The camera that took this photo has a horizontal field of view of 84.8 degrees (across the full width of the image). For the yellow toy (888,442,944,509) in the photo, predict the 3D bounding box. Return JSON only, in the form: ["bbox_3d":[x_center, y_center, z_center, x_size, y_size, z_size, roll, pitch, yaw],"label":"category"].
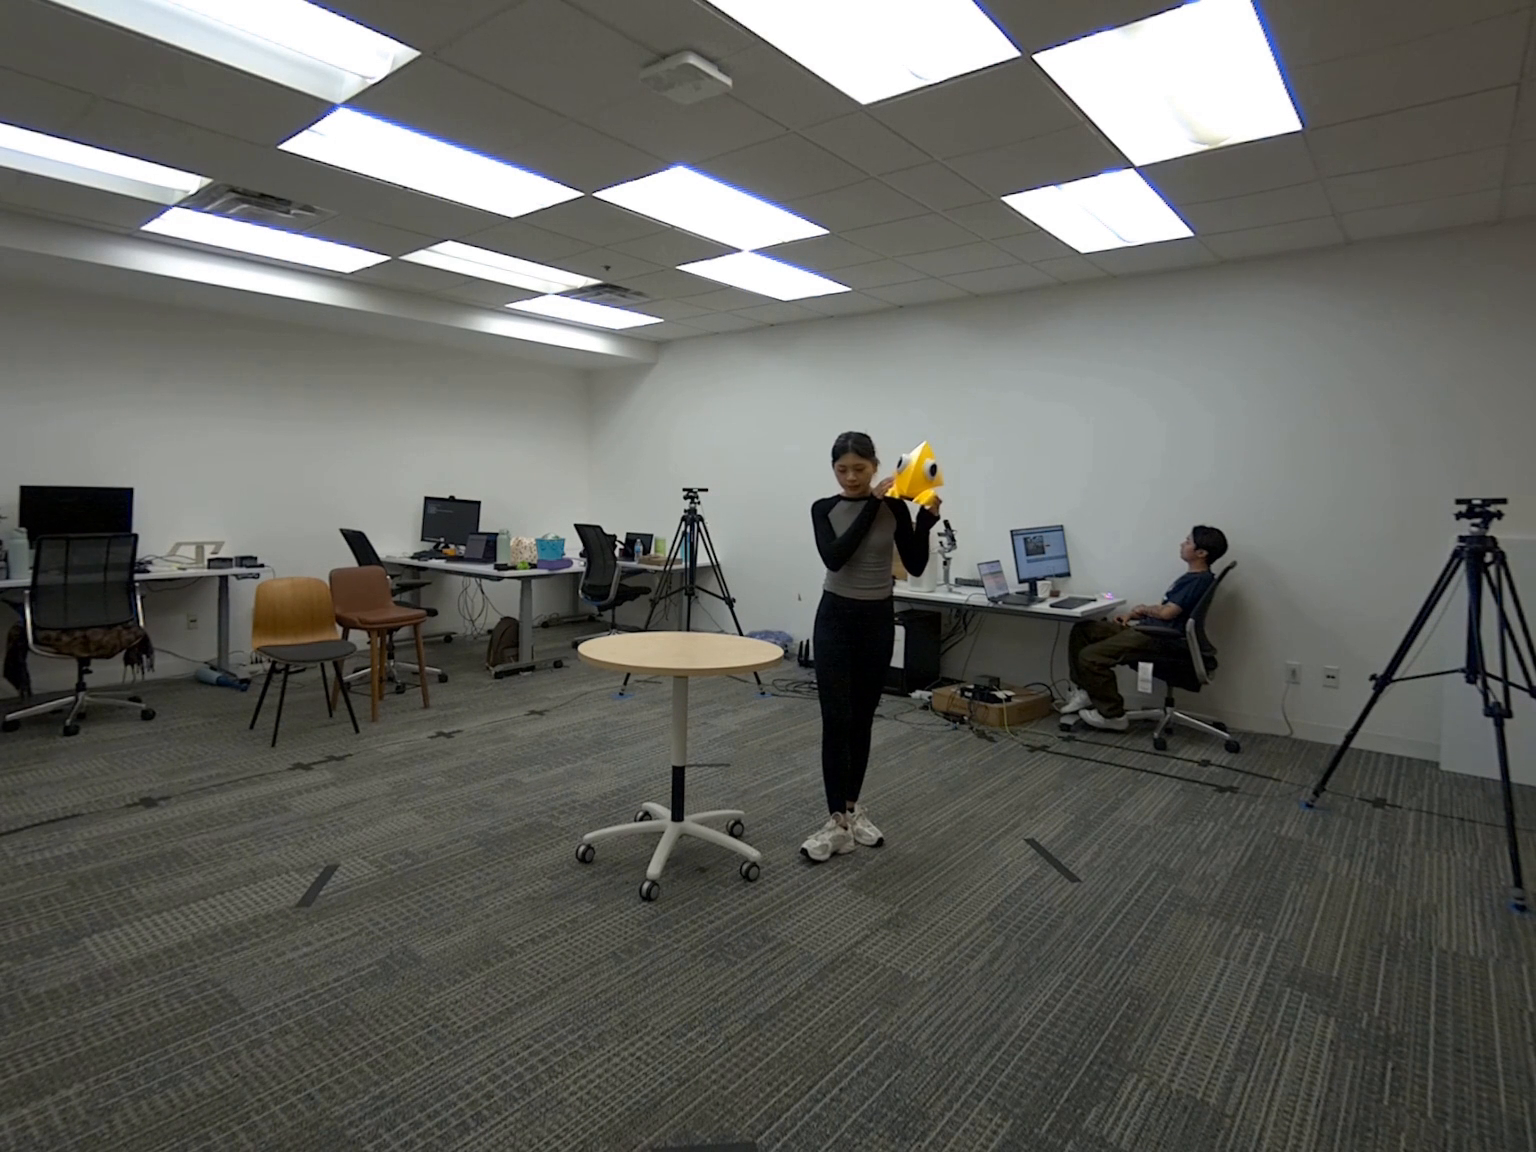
[{"bbox_3d":[0.551,-0.404,3.221,0.210,0.229,0.190,16,12,19],"label":"yellow toy"}]
